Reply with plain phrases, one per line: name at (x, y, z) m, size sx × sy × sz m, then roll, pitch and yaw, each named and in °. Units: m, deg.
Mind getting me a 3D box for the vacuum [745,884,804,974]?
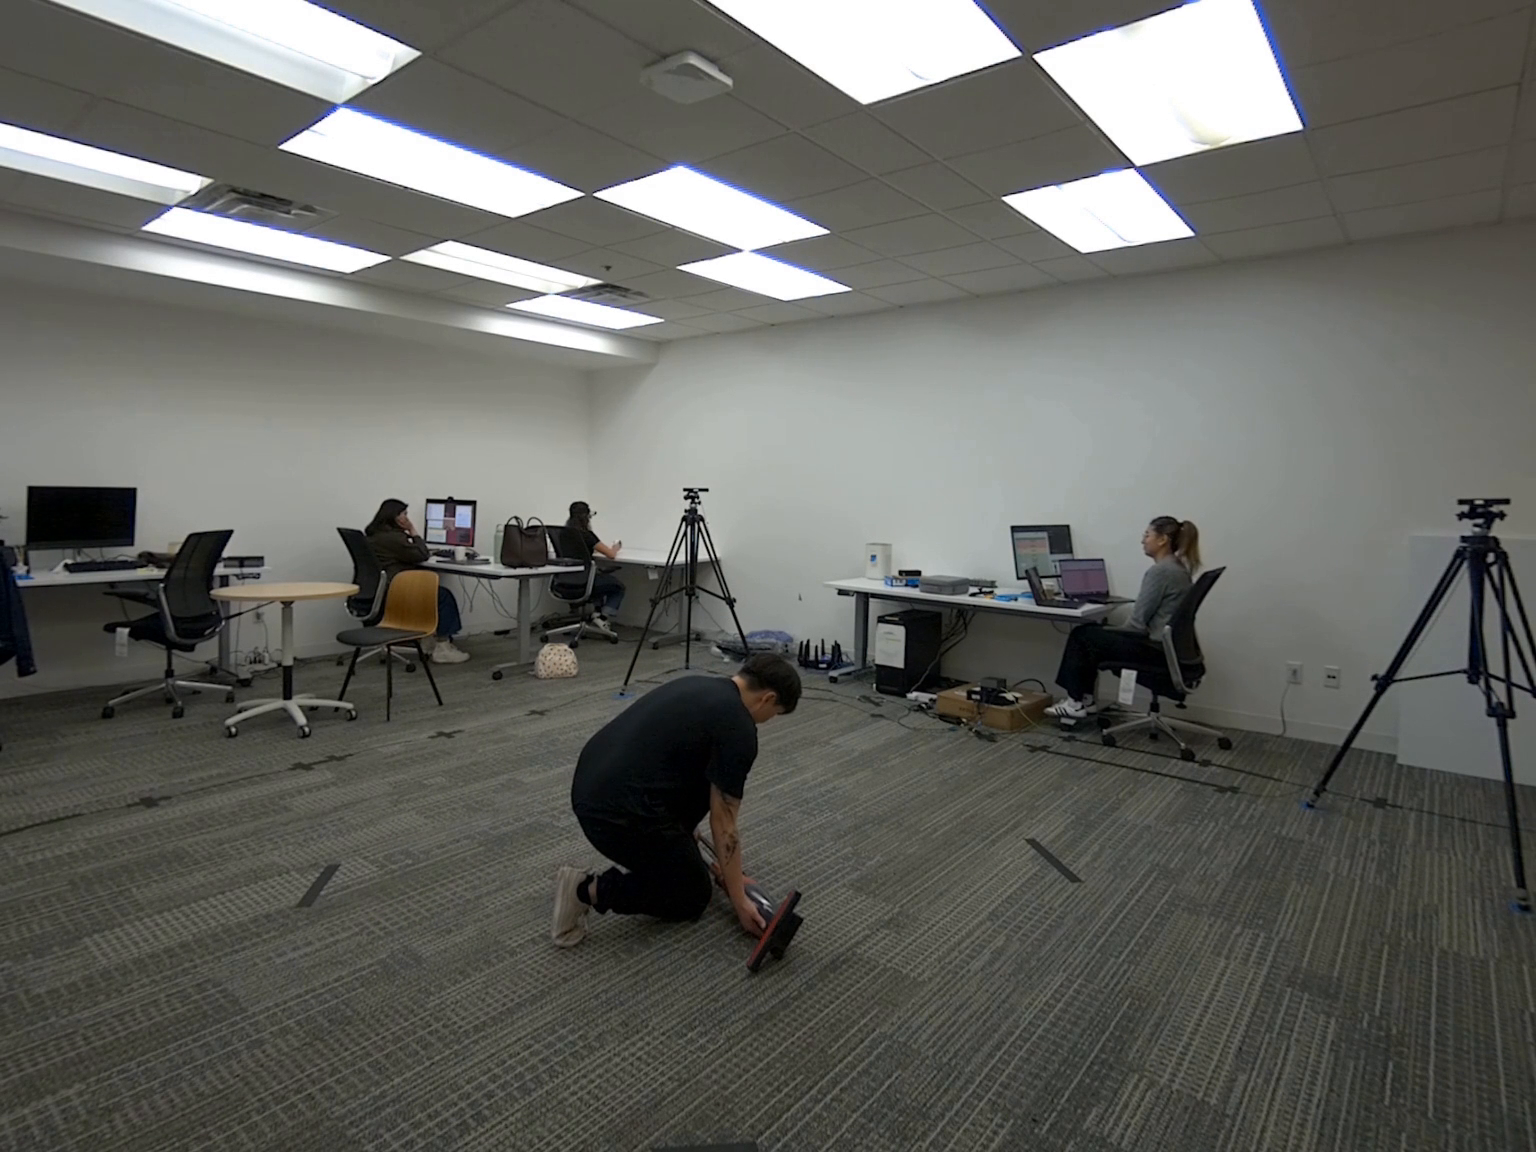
vacuum at (-0.173, 1.023, 2.979) m, size 0.141 × 0.253 × 1.071 m, roll 39°, pitch -12°, yaw -18°
